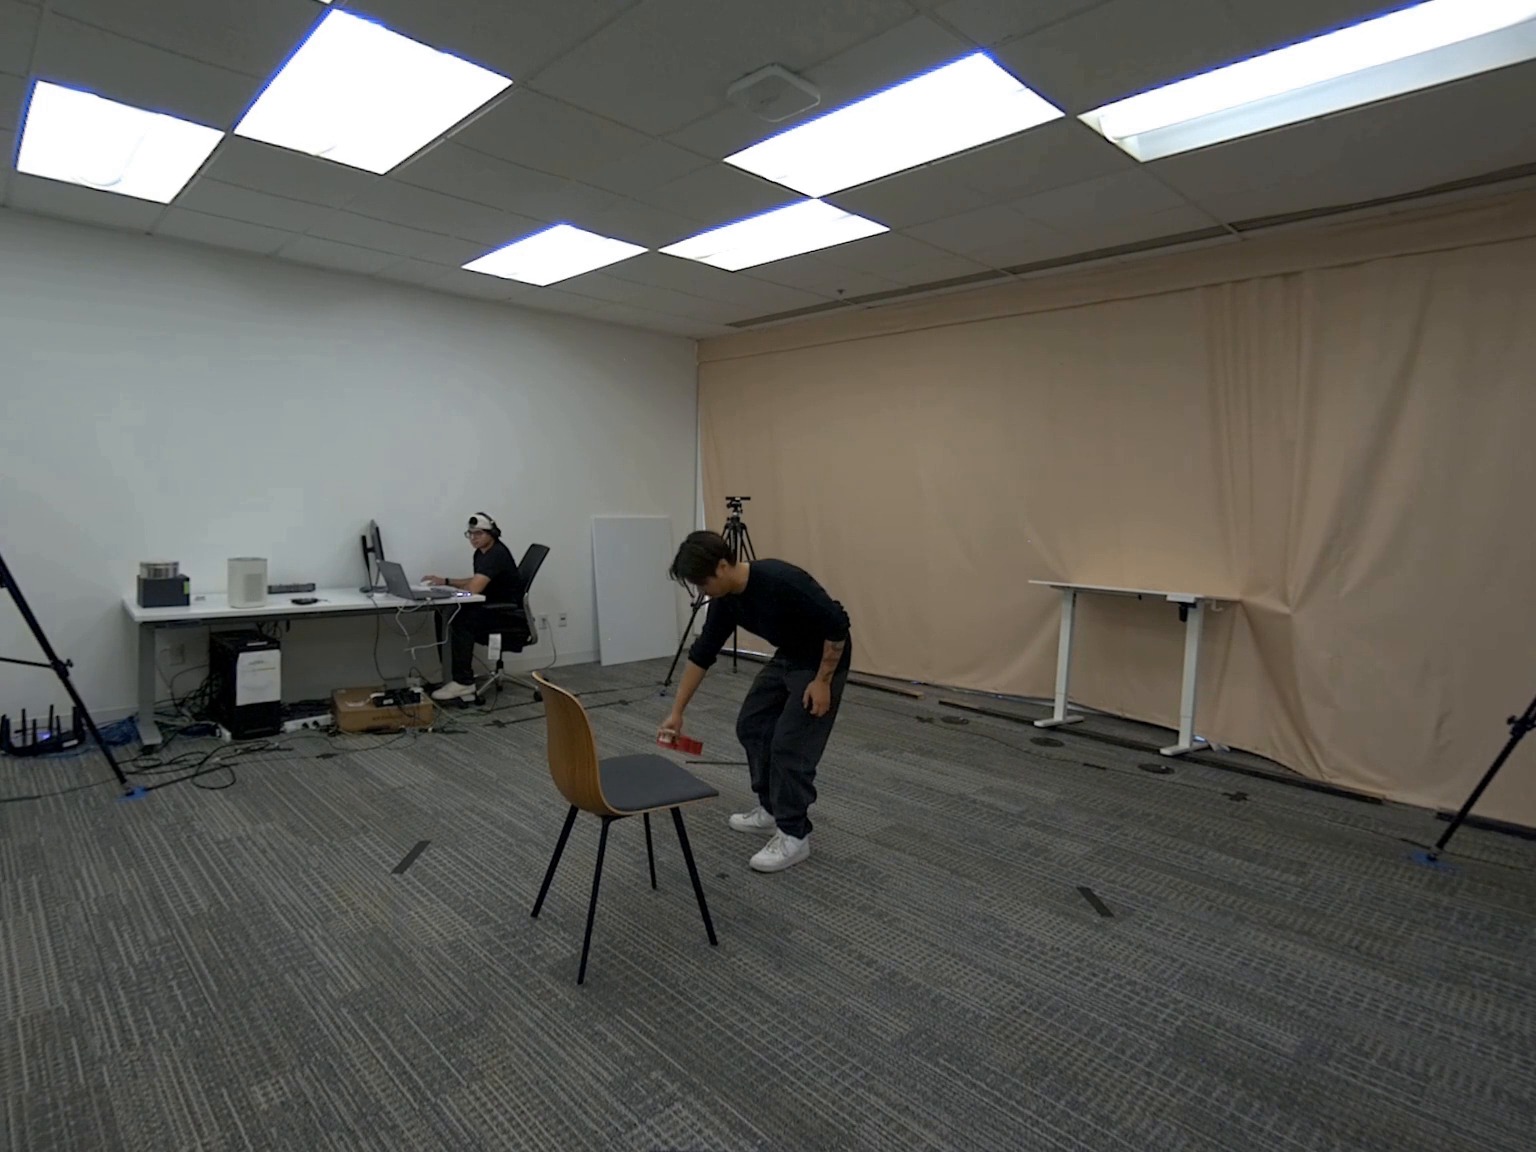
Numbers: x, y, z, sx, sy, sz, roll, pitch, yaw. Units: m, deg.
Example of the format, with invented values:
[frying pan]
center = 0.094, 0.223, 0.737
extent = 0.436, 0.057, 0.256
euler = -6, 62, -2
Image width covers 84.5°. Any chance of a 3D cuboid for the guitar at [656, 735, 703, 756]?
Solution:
[guitar]
center = -0.425, 0.683, 3.510
extent = 0.196, 0.071, 0.487
euler = 11, -12, 15
